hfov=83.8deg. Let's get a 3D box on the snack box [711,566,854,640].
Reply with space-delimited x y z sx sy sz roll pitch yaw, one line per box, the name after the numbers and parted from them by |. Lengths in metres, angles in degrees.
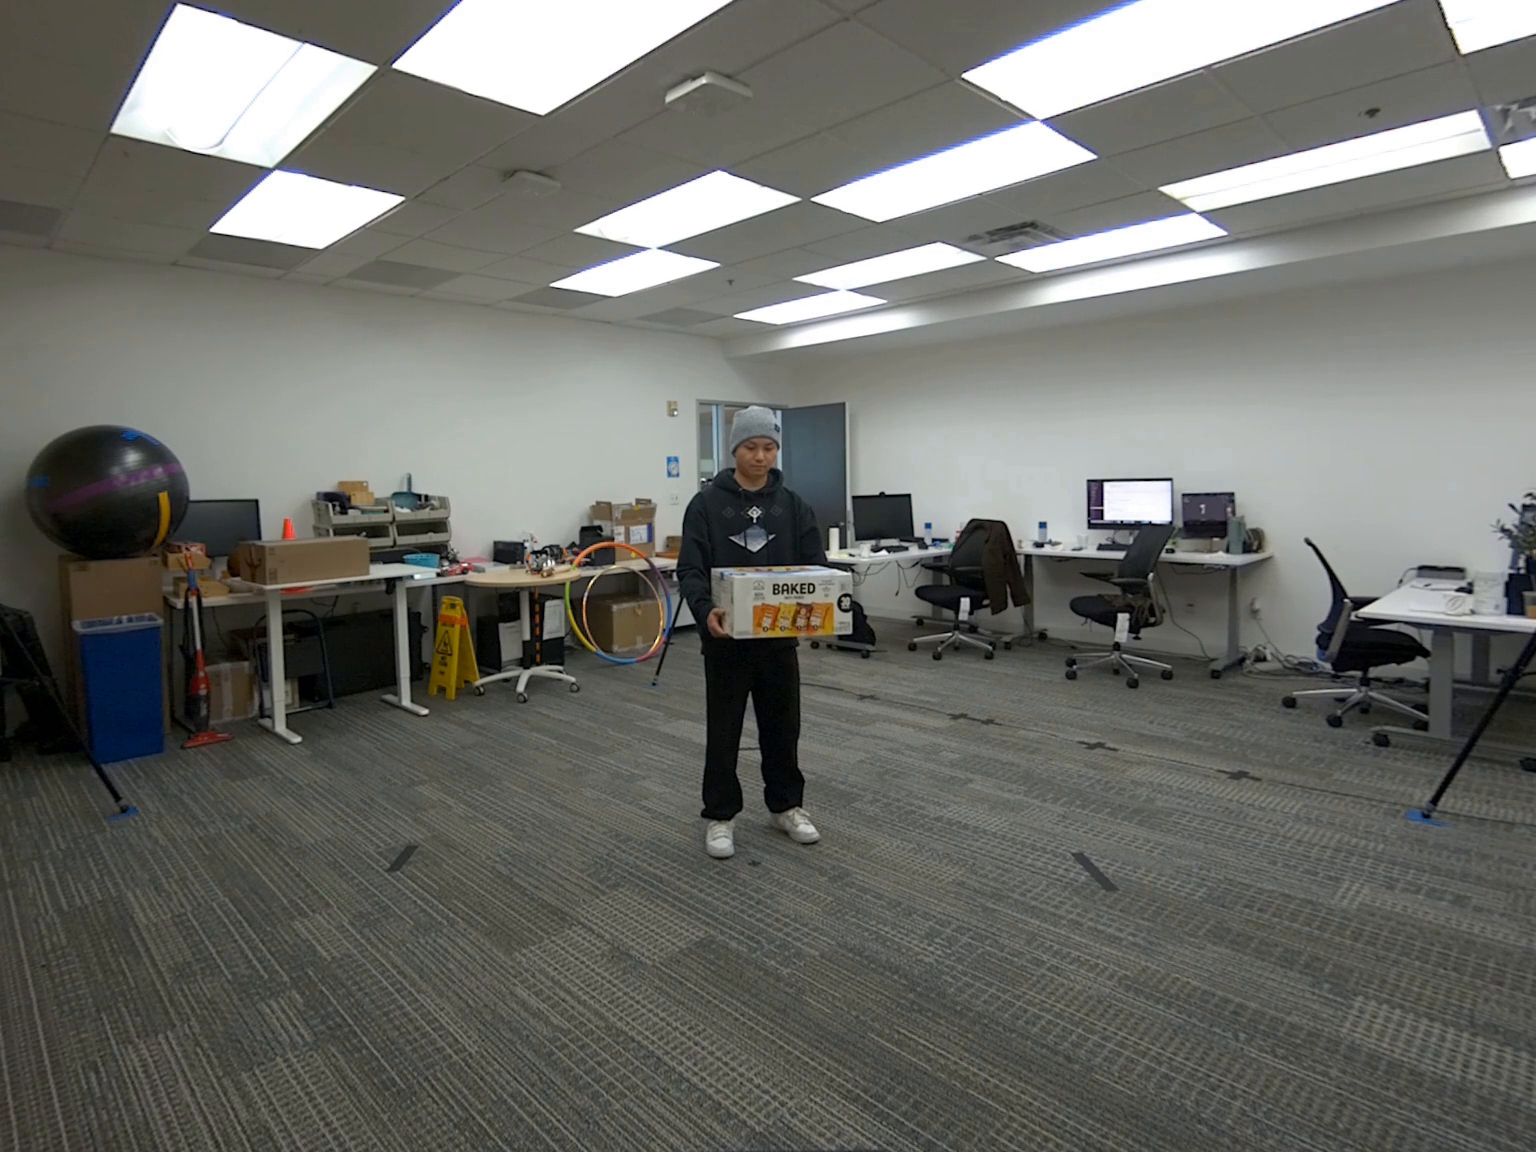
0.036 0.085 2.932 0.400 0.205 0.346 -2 4 -14 | snack box
